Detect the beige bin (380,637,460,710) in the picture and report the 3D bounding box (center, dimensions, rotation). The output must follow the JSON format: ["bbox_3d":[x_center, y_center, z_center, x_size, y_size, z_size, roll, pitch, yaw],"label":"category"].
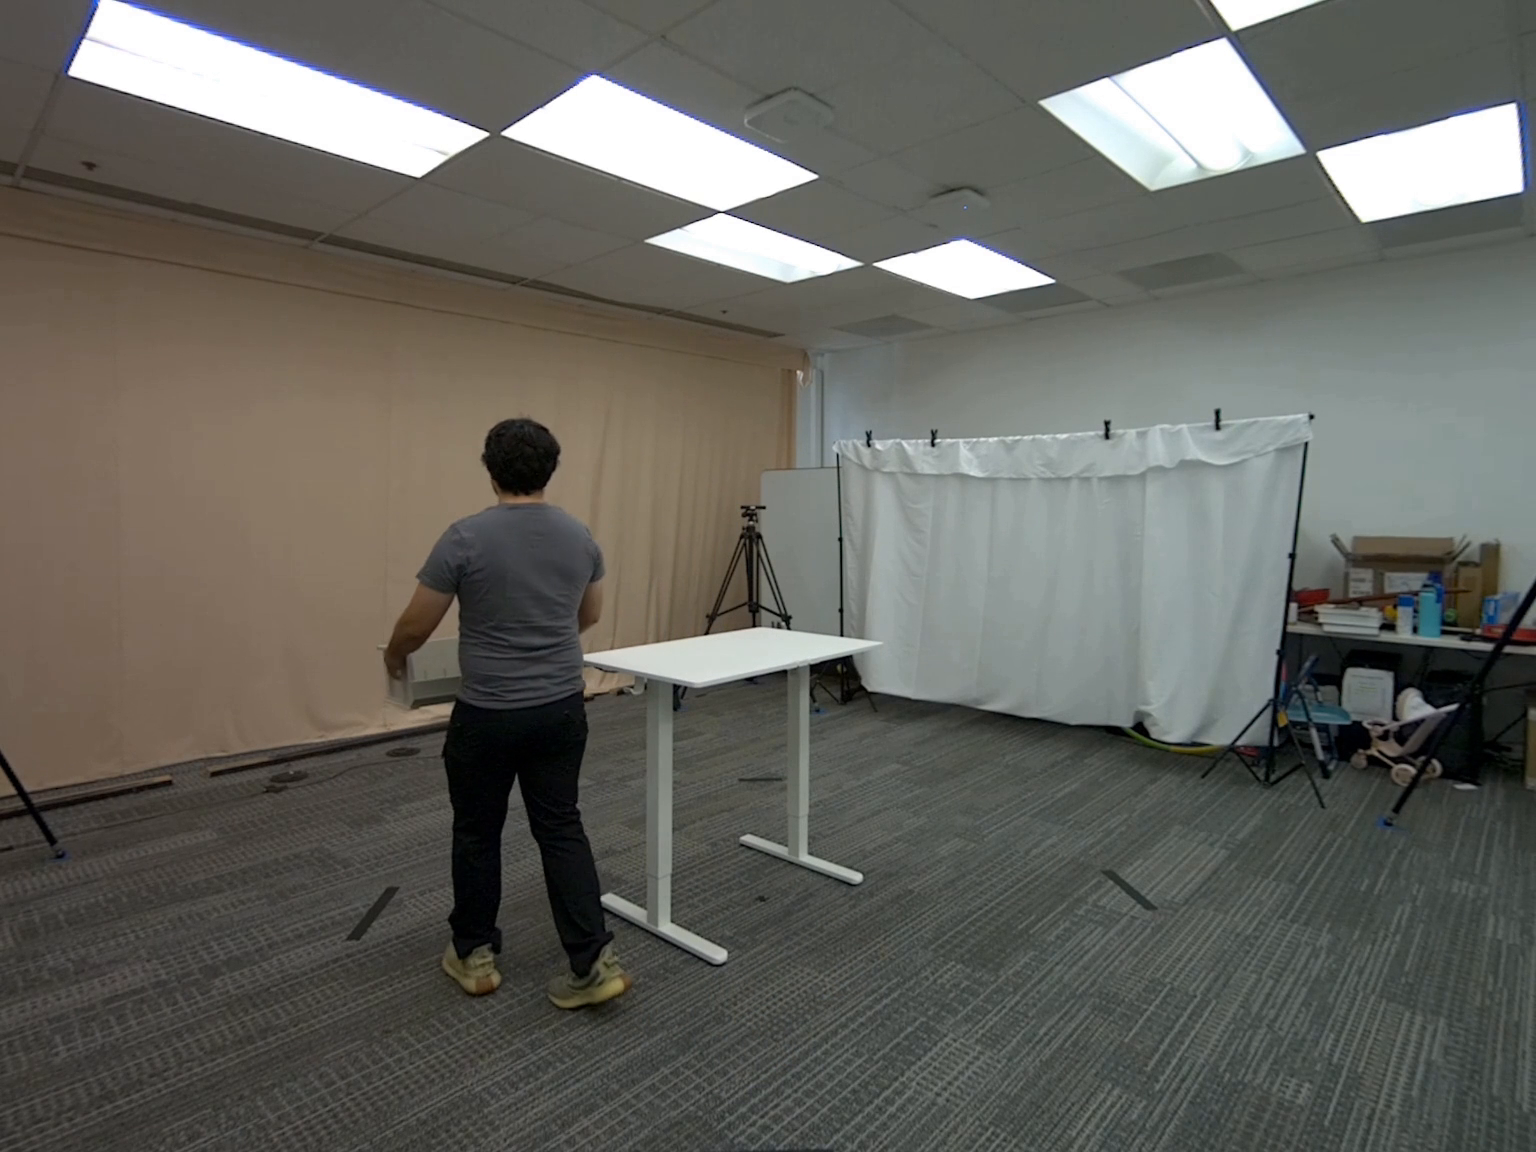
[{"bbox_3d":[-0.989,0.289,2.723,0.410,0.189,0.388,-7,2,-39],"label":"beige bin"}]
